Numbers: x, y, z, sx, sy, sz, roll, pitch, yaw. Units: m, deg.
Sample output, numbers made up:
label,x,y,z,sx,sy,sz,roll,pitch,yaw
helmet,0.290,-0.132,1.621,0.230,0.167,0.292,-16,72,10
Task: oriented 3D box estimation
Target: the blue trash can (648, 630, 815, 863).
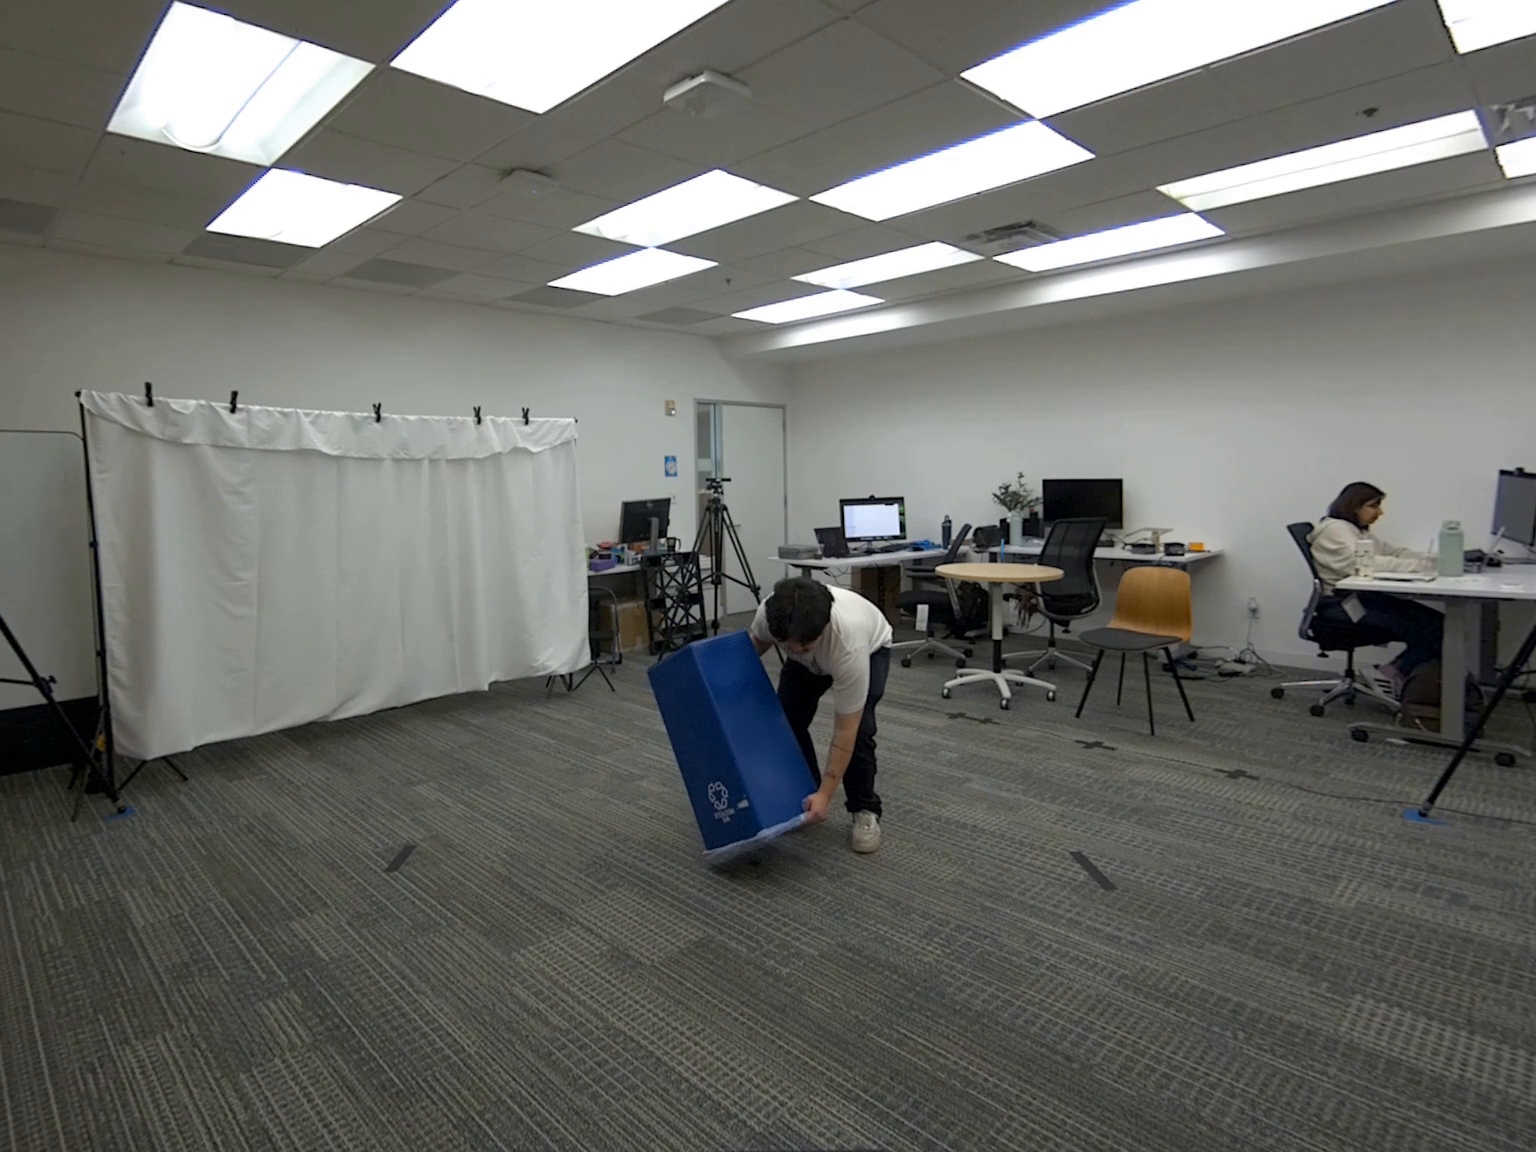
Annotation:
label,x,y,z,sx,sy,sz,roll,pitch,yaw
blue trash can,-0.138,0.603,3.158,0.369,0.726,0.377,-9,-20,-45
